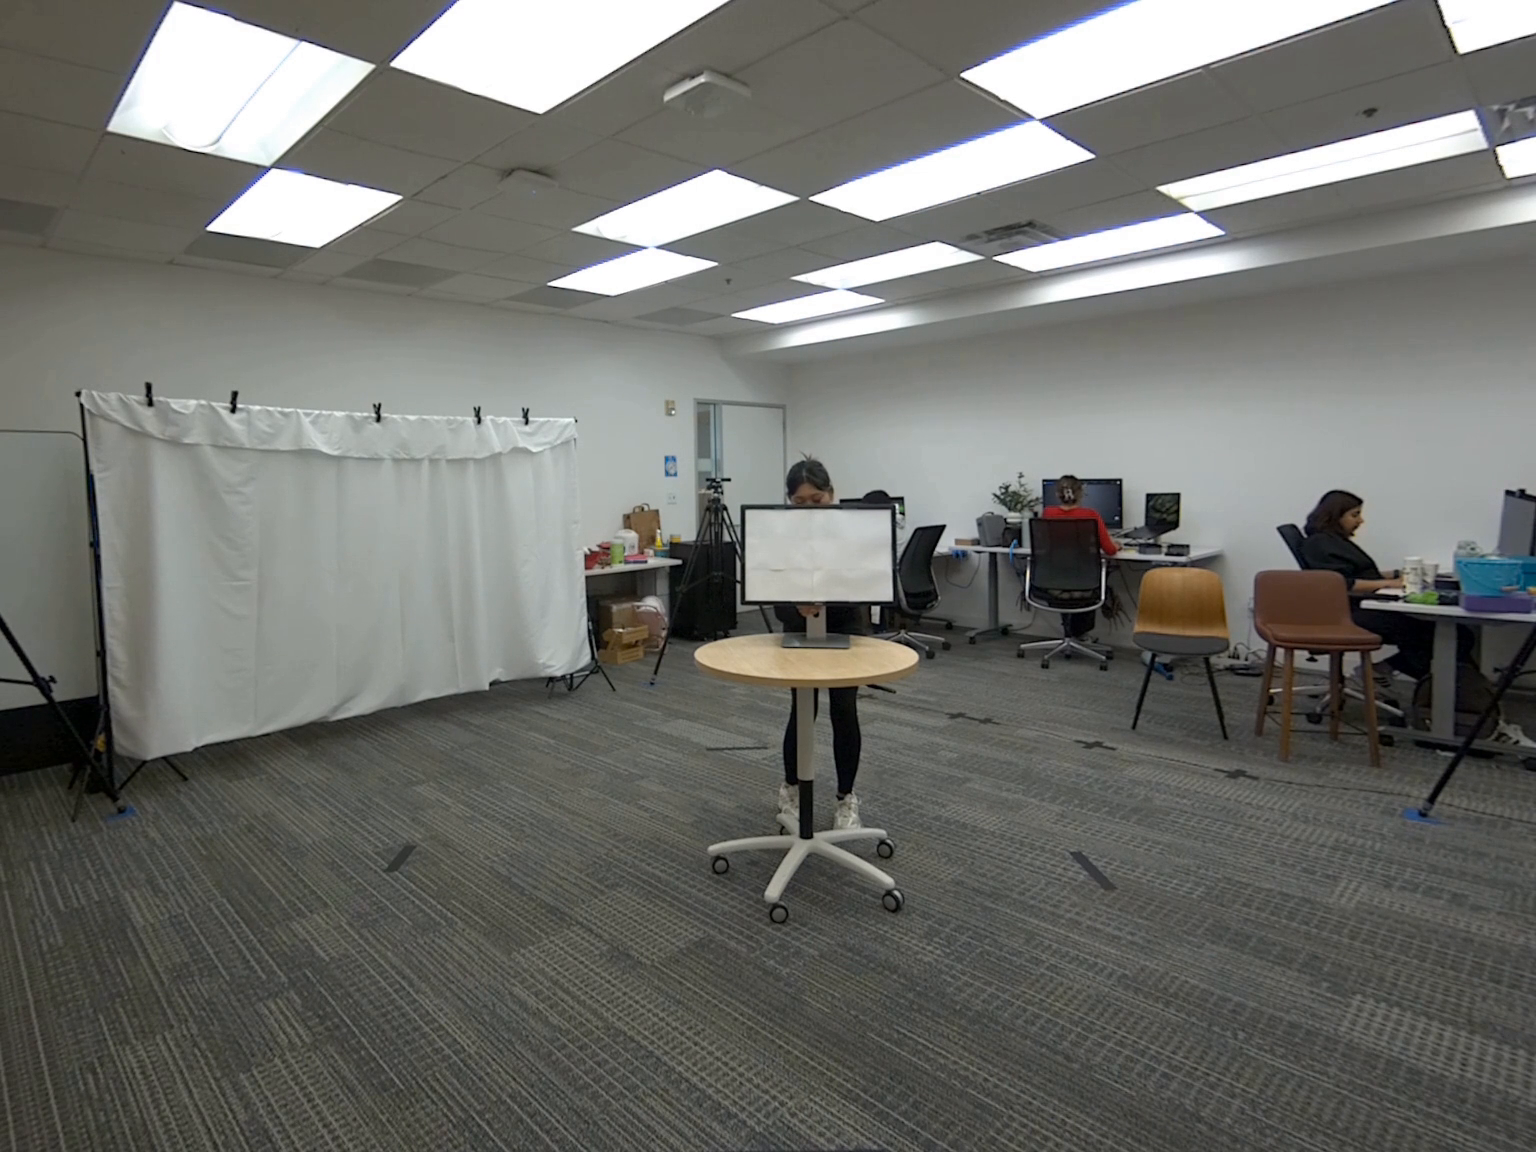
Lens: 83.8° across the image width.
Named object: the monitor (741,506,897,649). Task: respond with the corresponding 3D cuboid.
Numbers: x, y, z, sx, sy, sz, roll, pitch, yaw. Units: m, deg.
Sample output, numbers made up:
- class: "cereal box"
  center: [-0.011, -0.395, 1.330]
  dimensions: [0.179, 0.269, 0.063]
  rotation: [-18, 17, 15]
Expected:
- class: "monitor"
  center: [0.168, 0.006, 3.106]
  dimensions: [0.539, 0.520, 0.188]
  rotation: [0, 4, 0]
